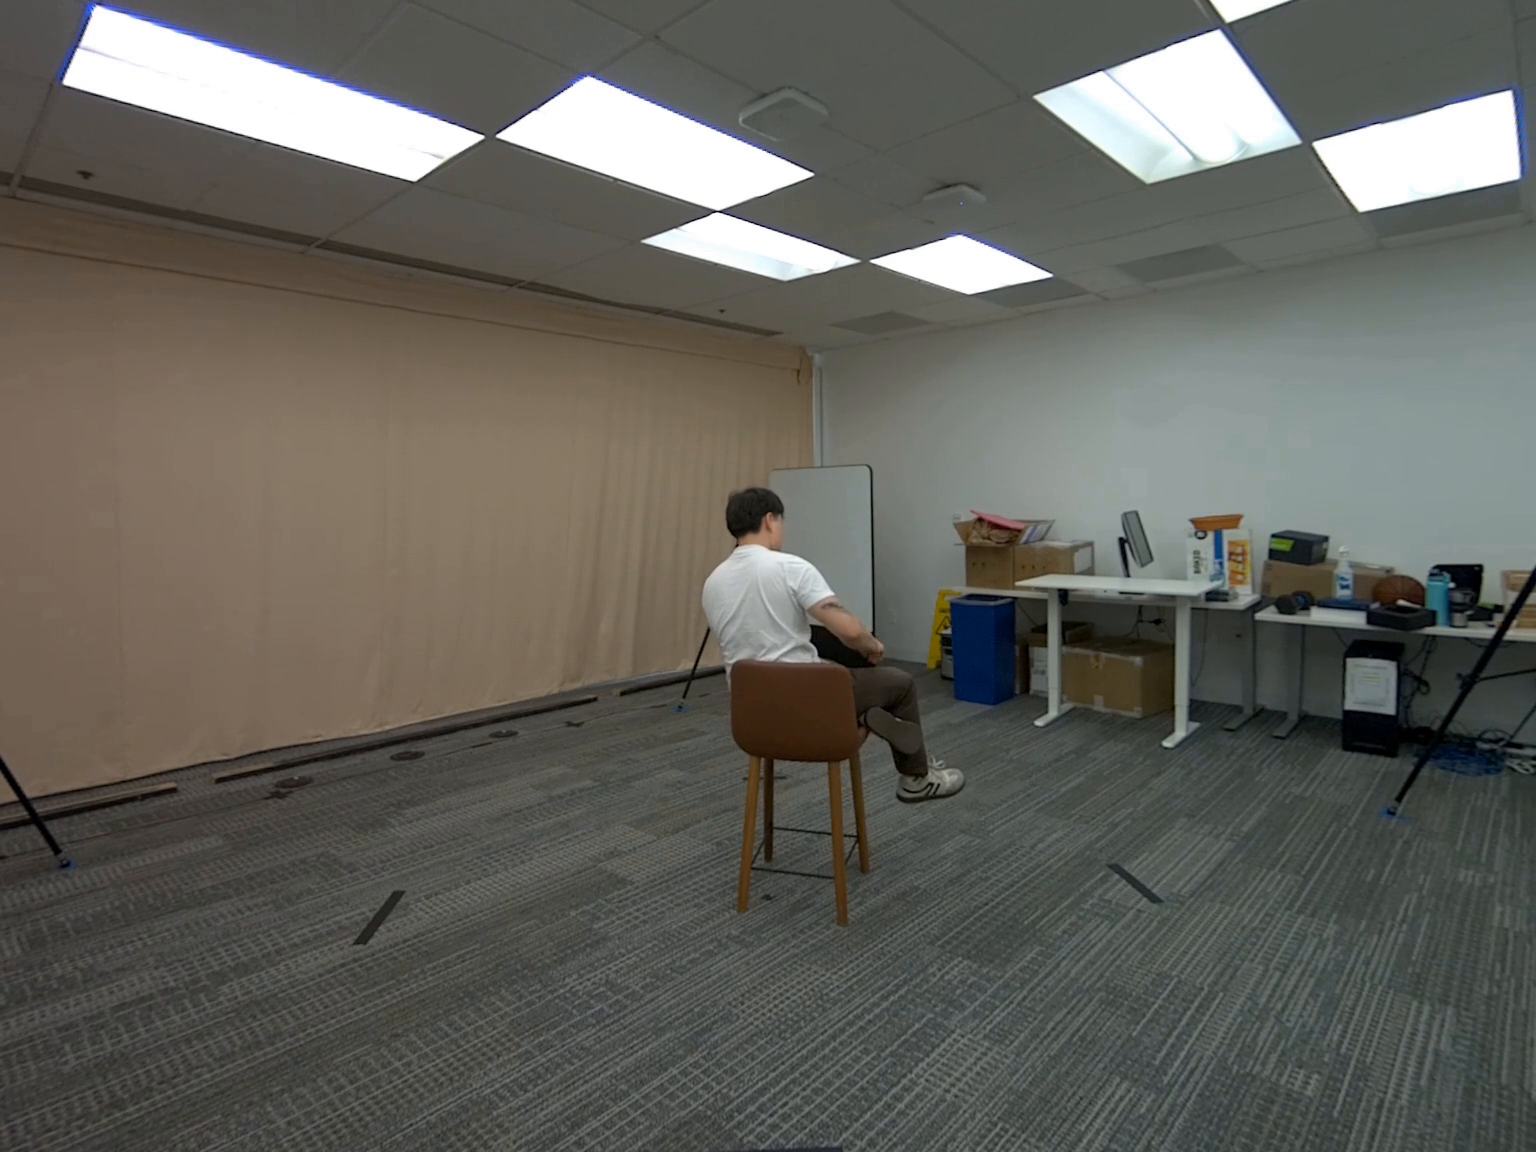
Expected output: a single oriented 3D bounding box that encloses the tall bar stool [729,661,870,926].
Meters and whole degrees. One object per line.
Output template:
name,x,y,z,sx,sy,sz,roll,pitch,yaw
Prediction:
tall bar stool,0.125,0.707,3.004,0.465,0.886,0.460,0,6,18
